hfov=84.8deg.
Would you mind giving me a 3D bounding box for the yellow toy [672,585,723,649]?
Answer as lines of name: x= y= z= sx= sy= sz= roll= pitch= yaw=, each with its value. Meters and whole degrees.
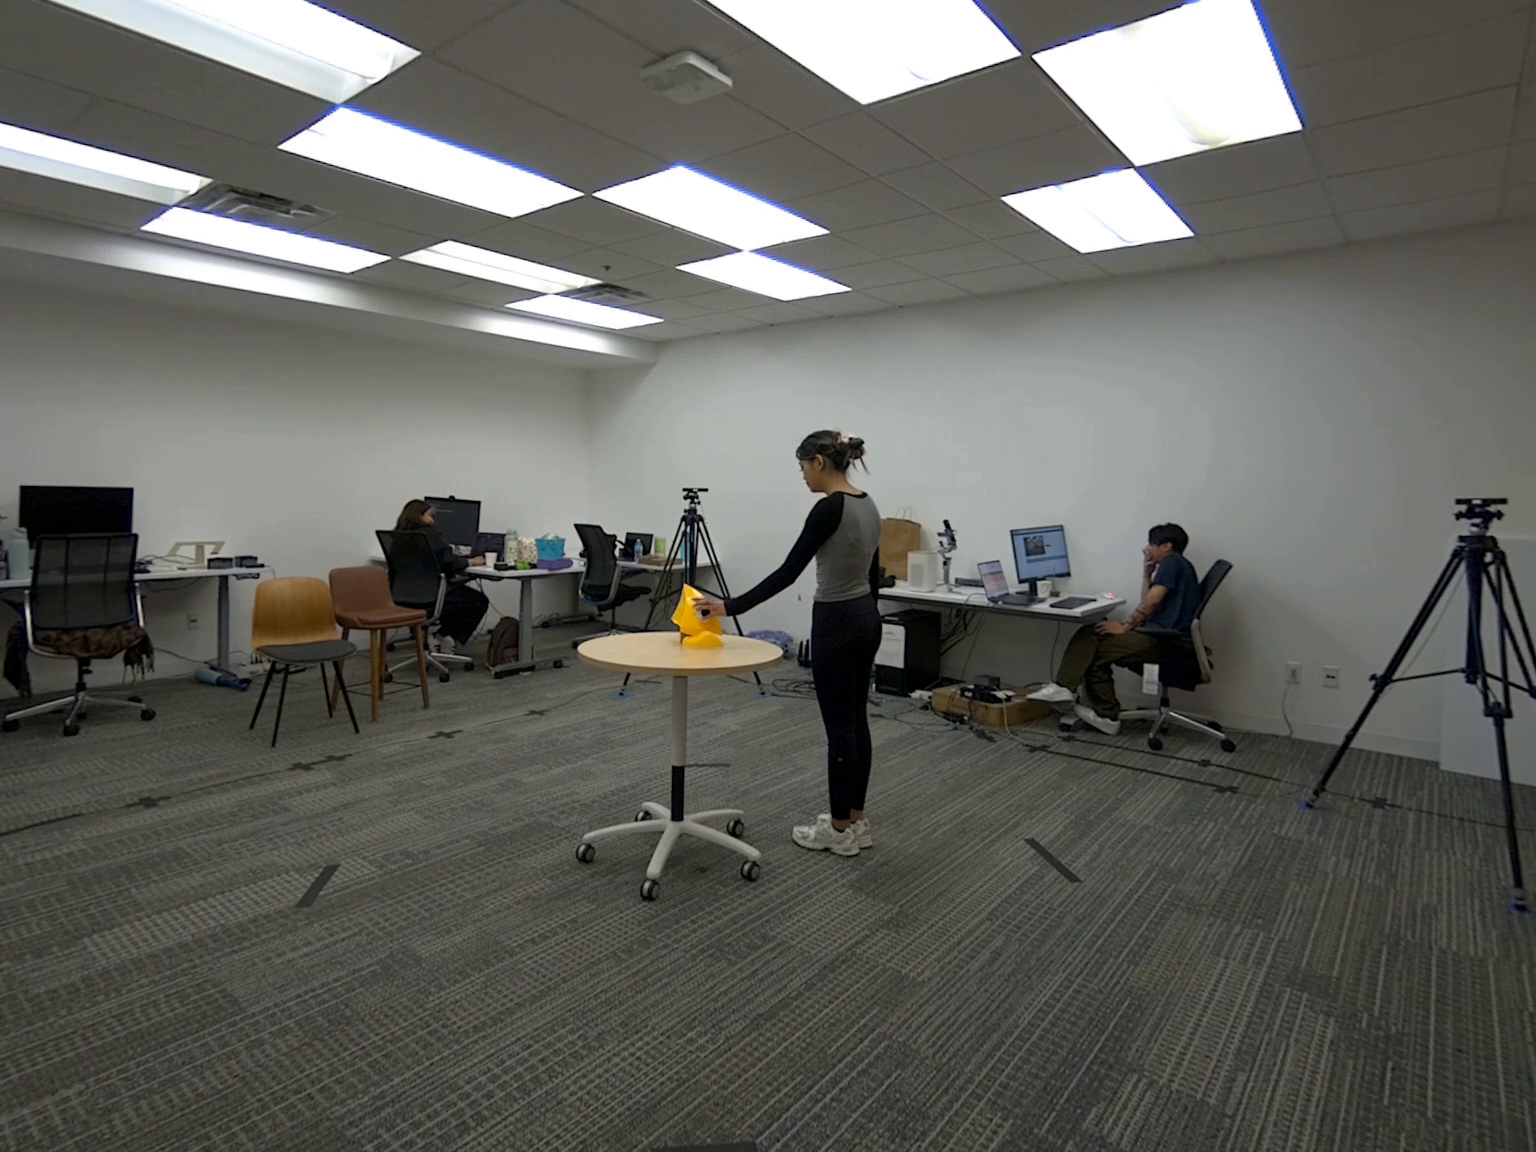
yellow toy: x=-0.279 y=0.142 z=3.329 sx=0.190 sy=0.230 sz=0.208 roll=-1 pitch=4 yaw=-15
